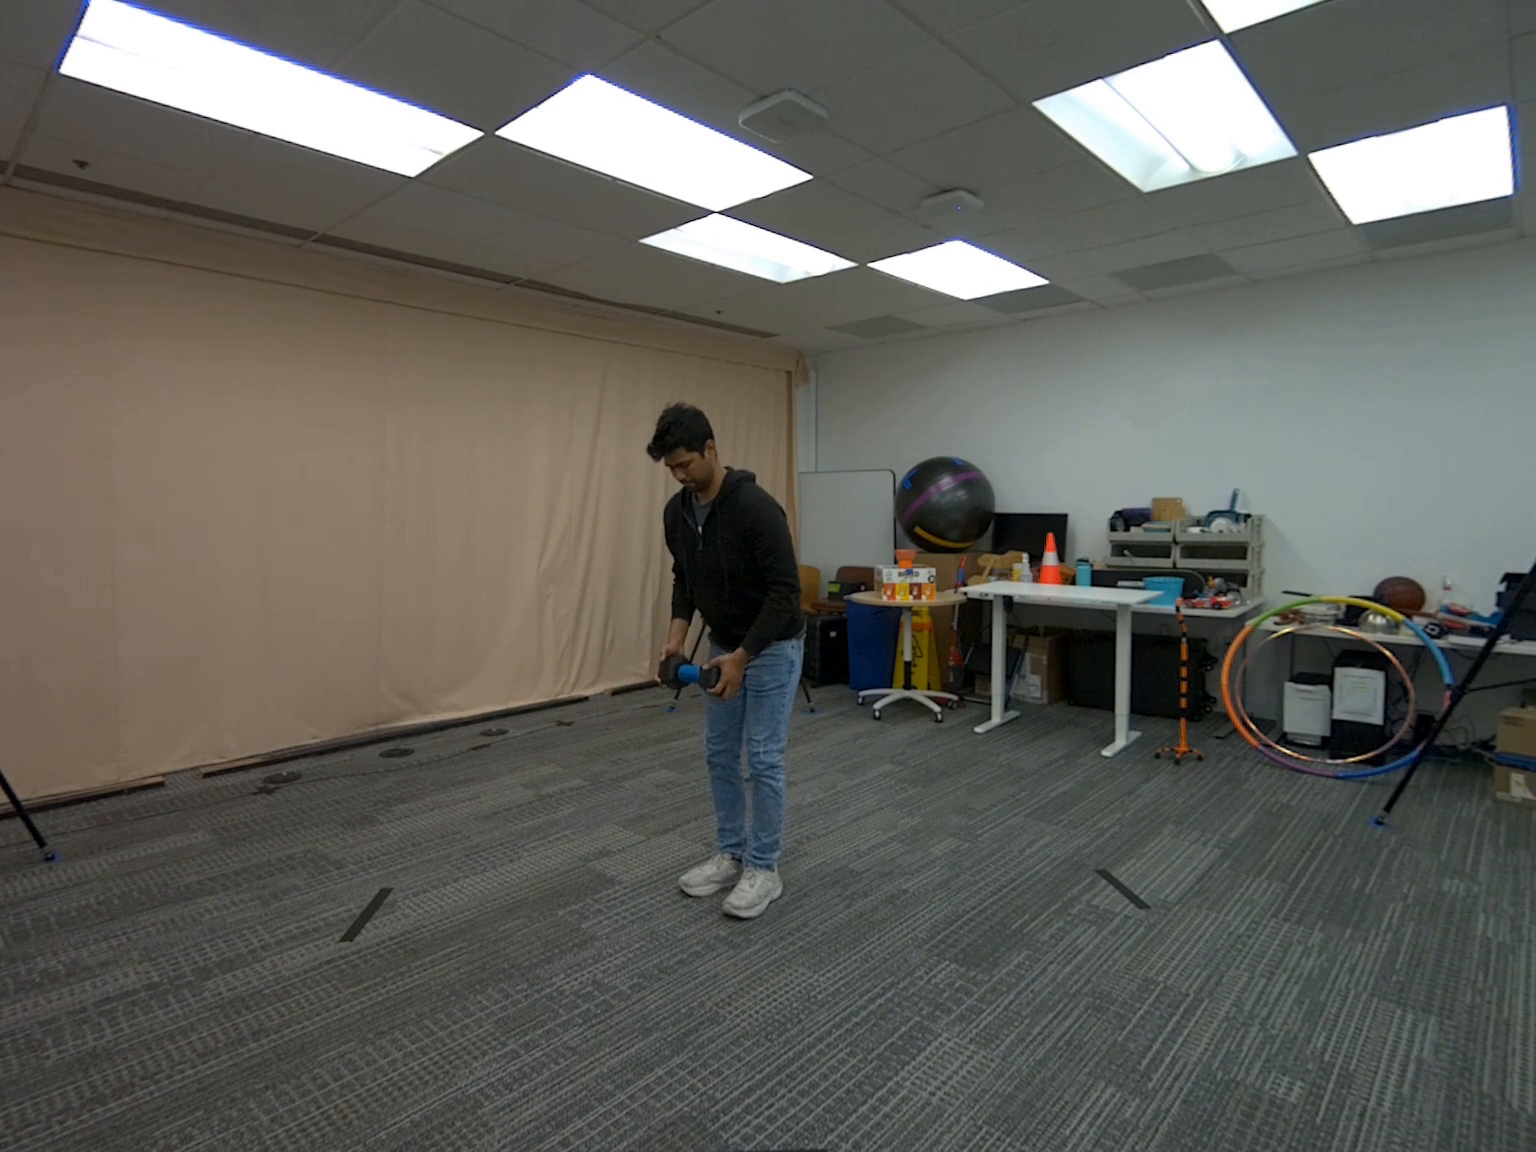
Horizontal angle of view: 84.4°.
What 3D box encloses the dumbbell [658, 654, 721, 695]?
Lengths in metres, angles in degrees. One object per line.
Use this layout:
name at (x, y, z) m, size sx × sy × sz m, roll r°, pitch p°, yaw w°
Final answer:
dumbbell at (-0.235, 0.343, 2.861) m, size 0.303 × 0.109 × 0.119 m, roll 2°, pitch -38°, yaw 46°
